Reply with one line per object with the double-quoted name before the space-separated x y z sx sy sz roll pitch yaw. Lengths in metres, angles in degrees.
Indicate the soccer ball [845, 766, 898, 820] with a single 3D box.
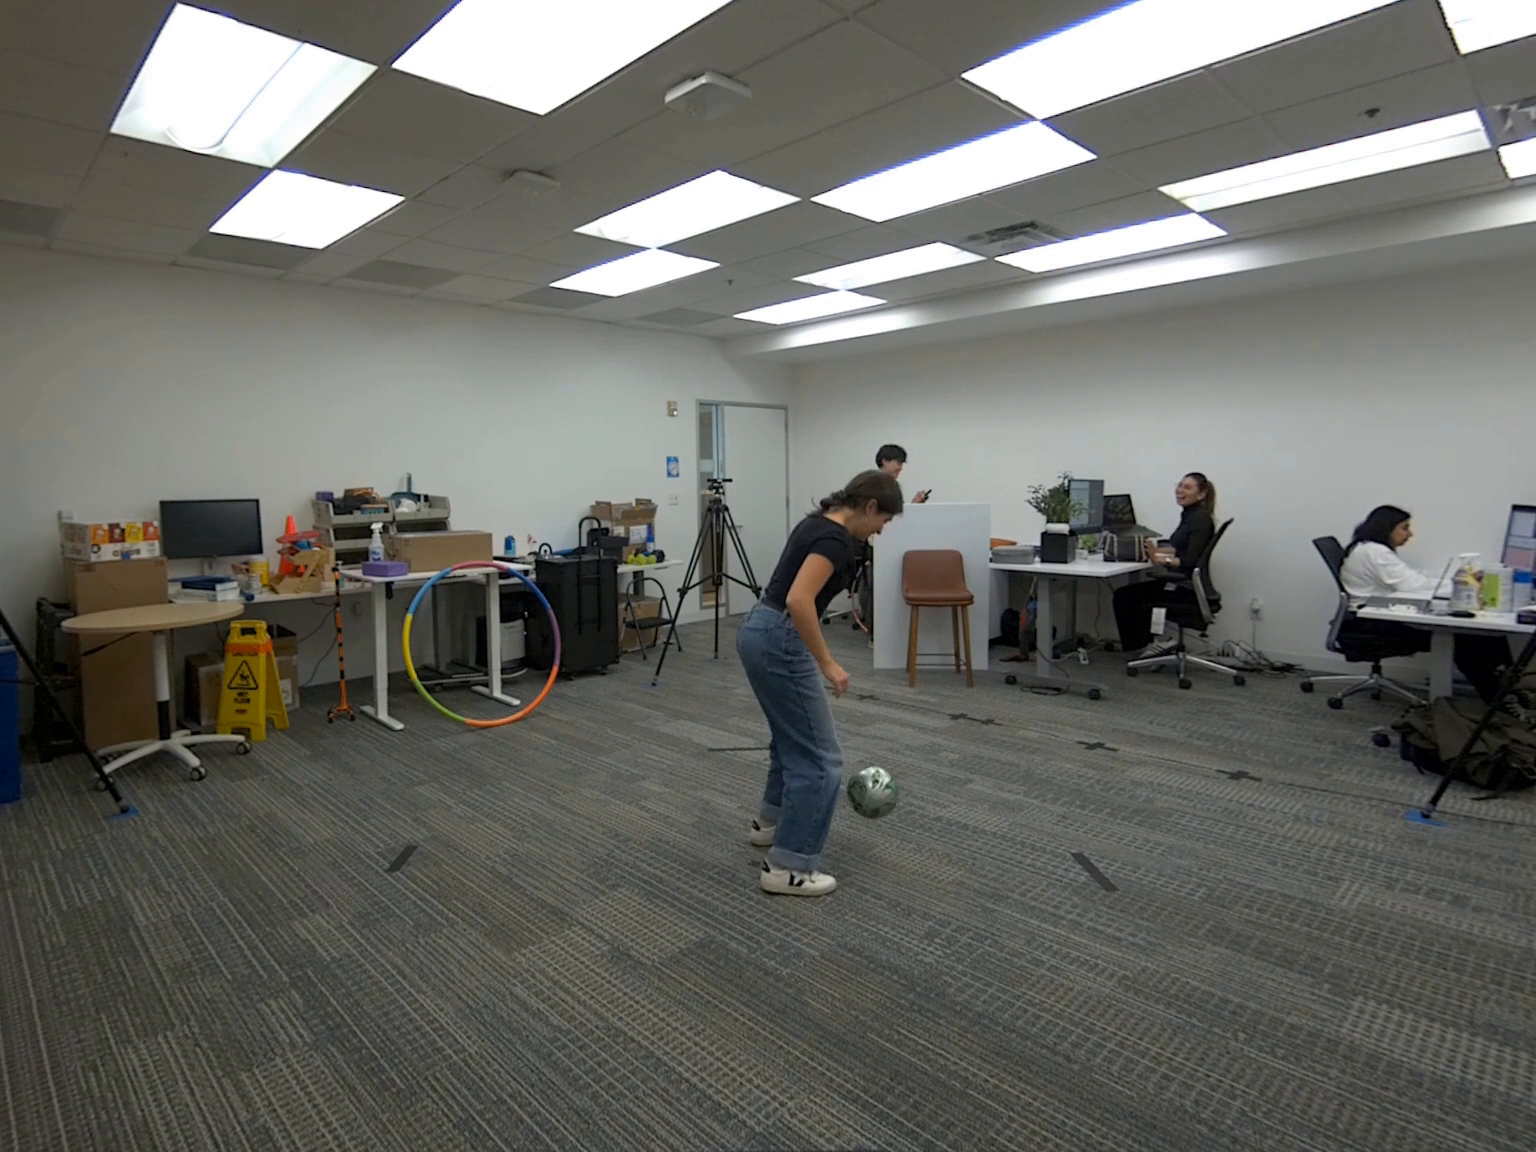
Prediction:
"soccer ball" 0.391 0.817 3.129 0.187 0.187 0.188 -1 5 -2
